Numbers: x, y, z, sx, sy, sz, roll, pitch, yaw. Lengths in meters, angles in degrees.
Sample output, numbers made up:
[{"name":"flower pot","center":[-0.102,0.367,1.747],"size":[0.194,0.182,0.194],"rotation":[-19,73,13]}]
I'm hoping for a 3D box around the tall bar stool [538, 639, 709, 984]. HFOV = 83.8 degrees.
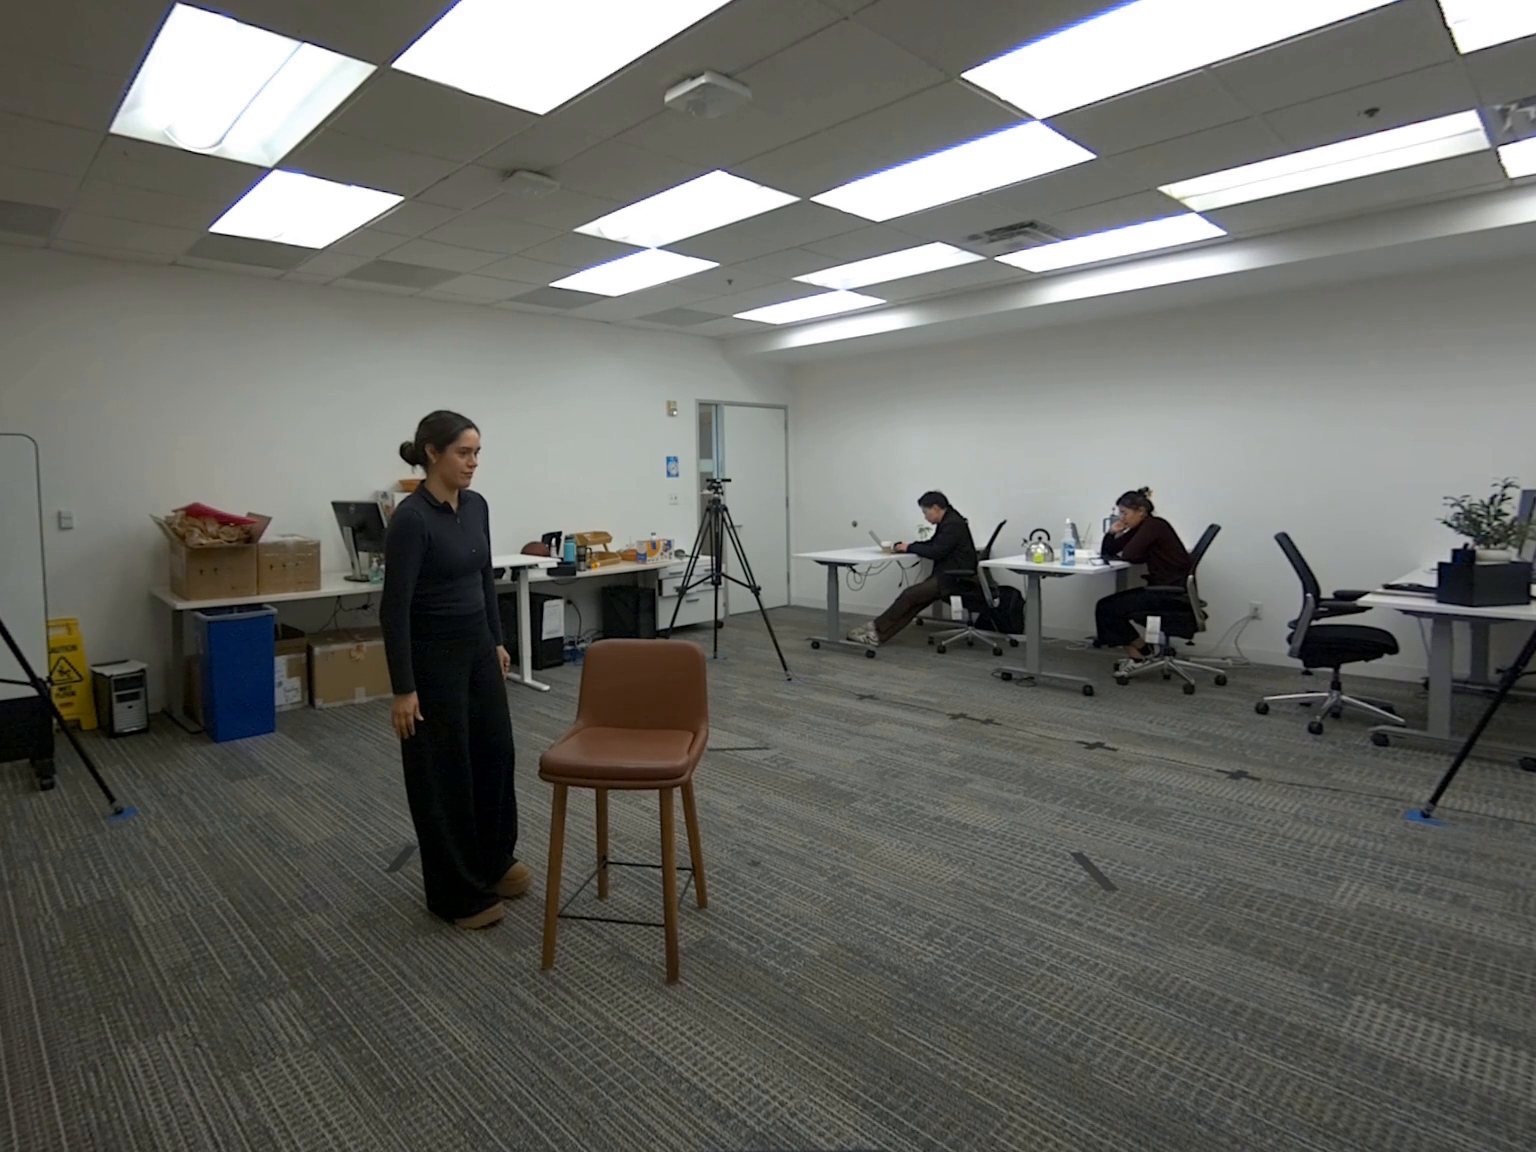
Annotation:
[{"name":"tall bar stool","center":[-0.422,0.676,2.605],"size":[0.462,0.887,0.463],"rotation":[0,4,12]}]
